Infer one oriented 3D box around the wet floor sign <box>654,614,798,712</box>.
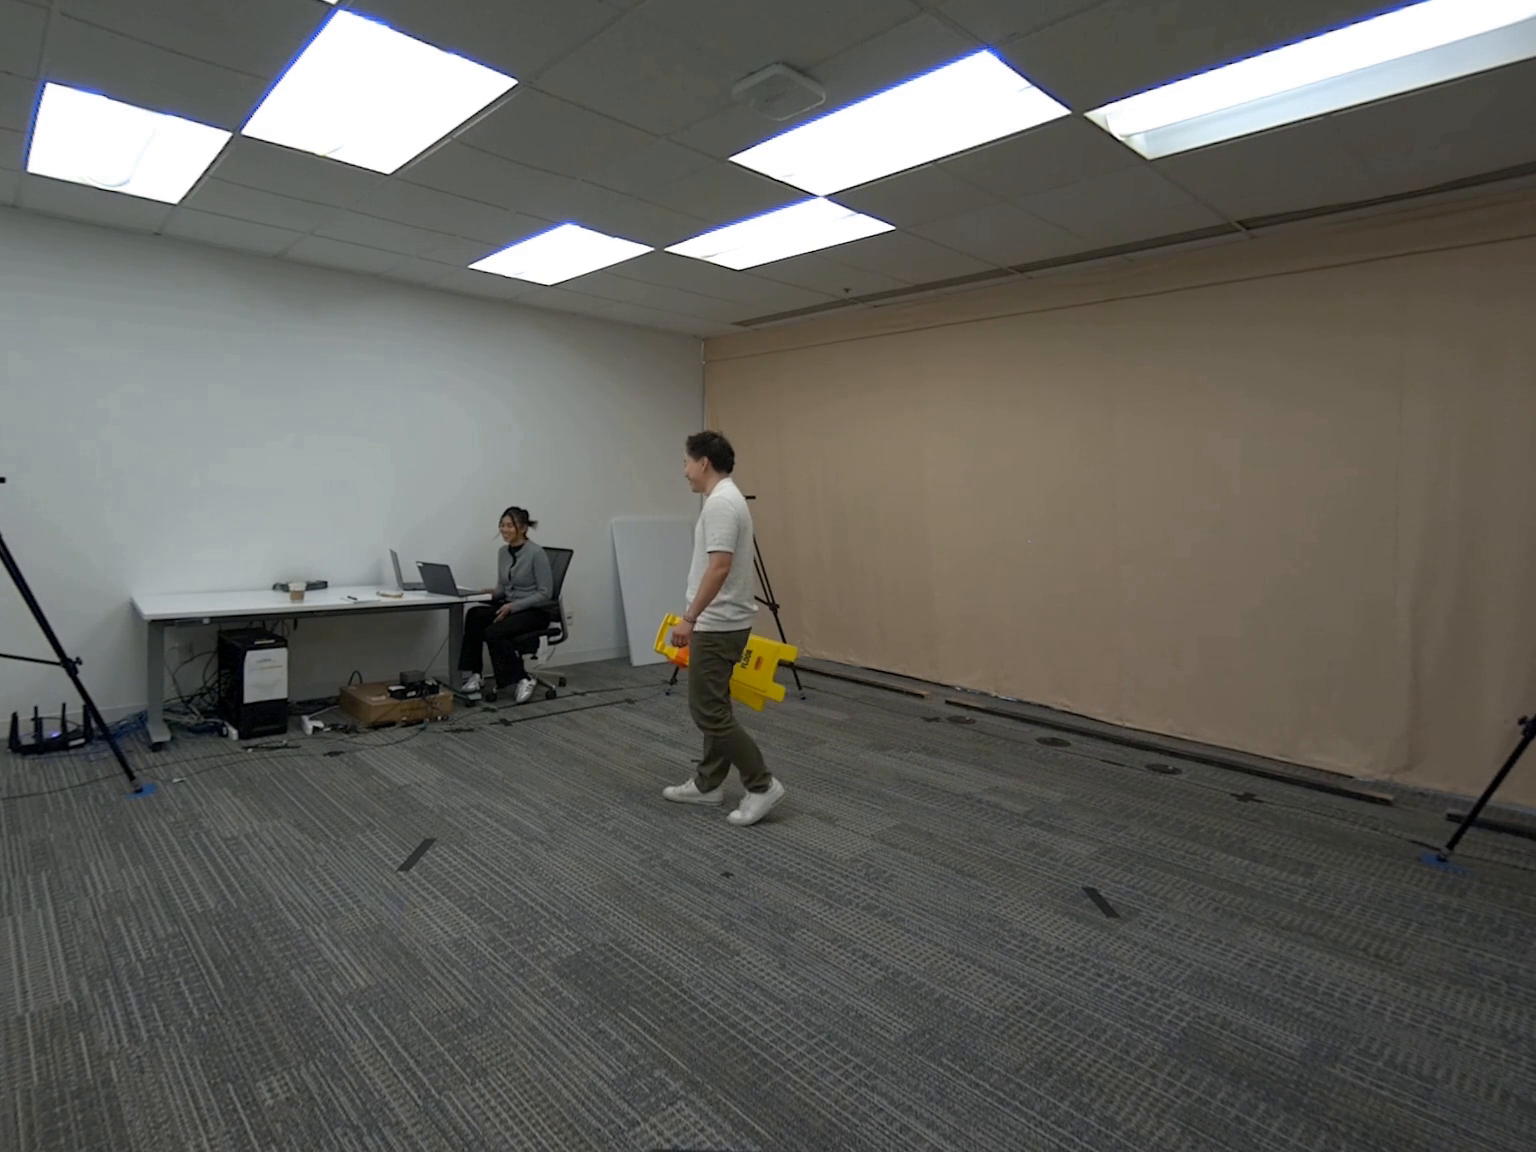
[{"bbox_3d":[-0.238,0.389,4.090,0.640,0.285,0.290,24,-24,-10],"label":"wet floor sign"}]
